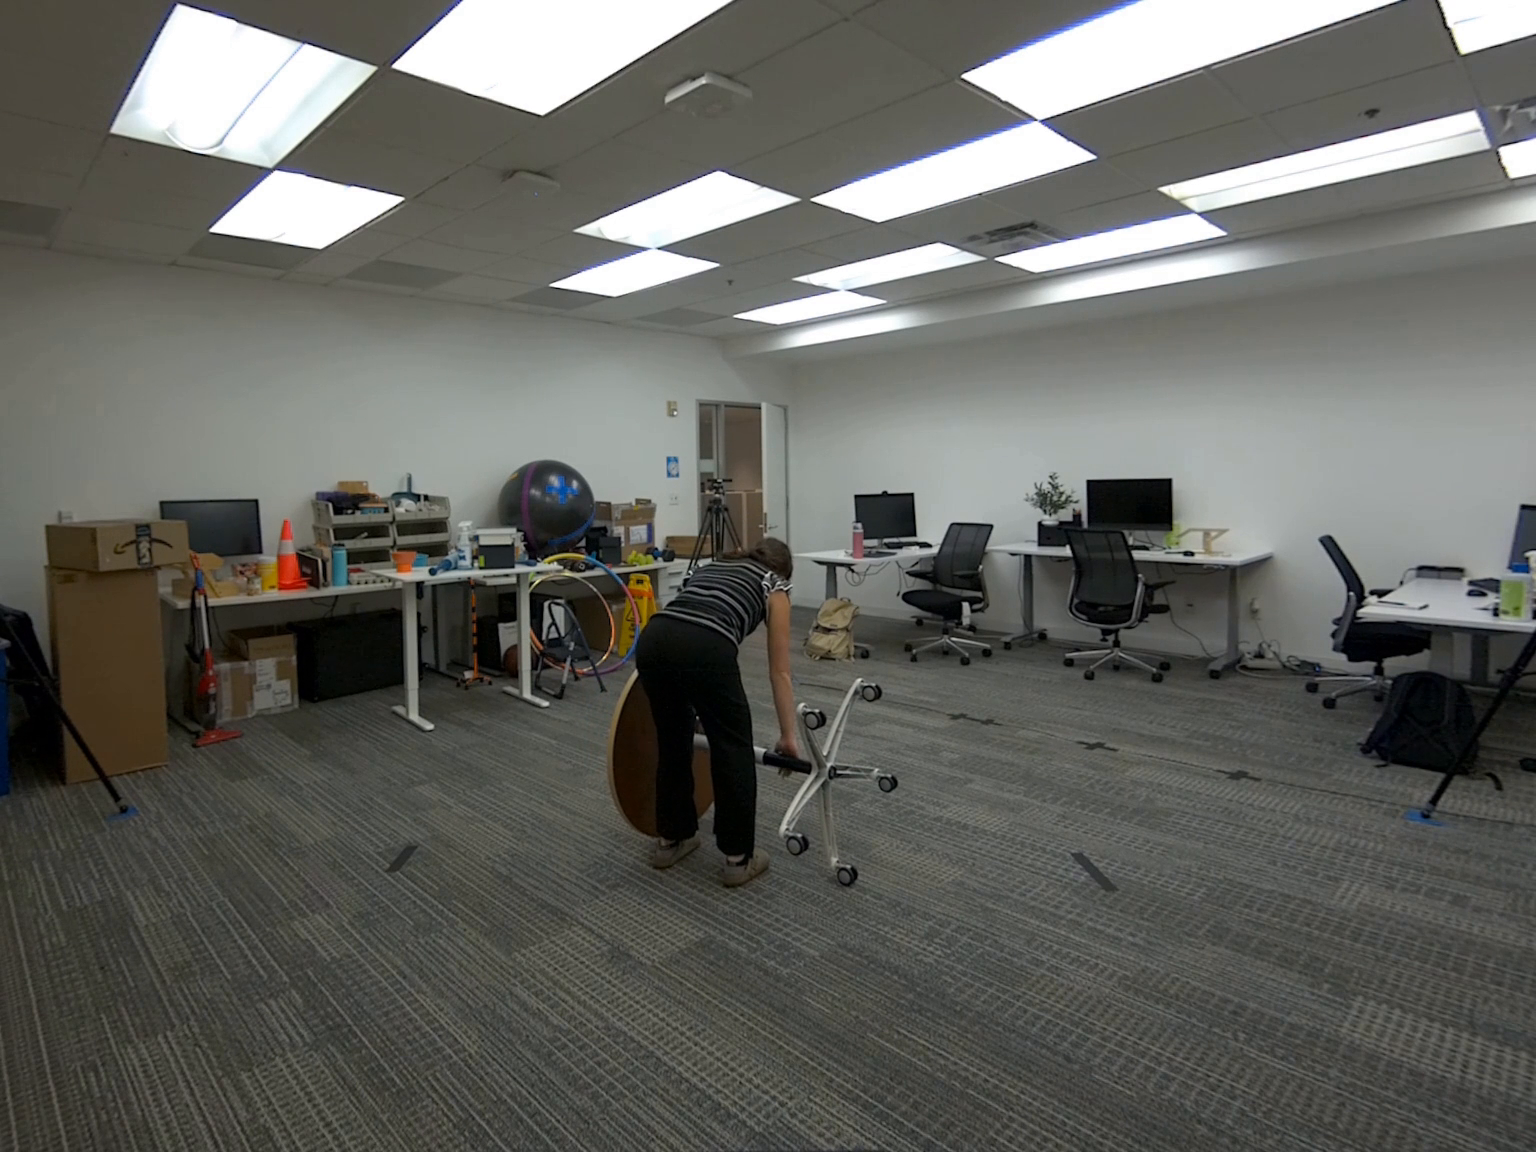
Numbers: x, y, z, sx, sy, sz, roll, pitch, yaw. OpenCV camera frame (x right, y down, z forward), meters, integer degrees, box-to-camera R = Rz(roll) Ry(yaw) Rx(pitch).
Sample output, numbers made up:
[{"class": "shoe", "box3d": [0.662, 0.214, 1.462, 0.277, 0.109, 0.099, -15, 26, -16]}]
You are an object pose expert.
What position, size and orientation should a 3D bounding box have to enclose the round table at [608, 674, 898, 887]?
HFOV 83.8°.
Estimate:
[{"class": "round table", "box3d": [-0.036, 0.670, 3.142, 0.818, 0.760, 0.745, 5, 7, 36]}]
